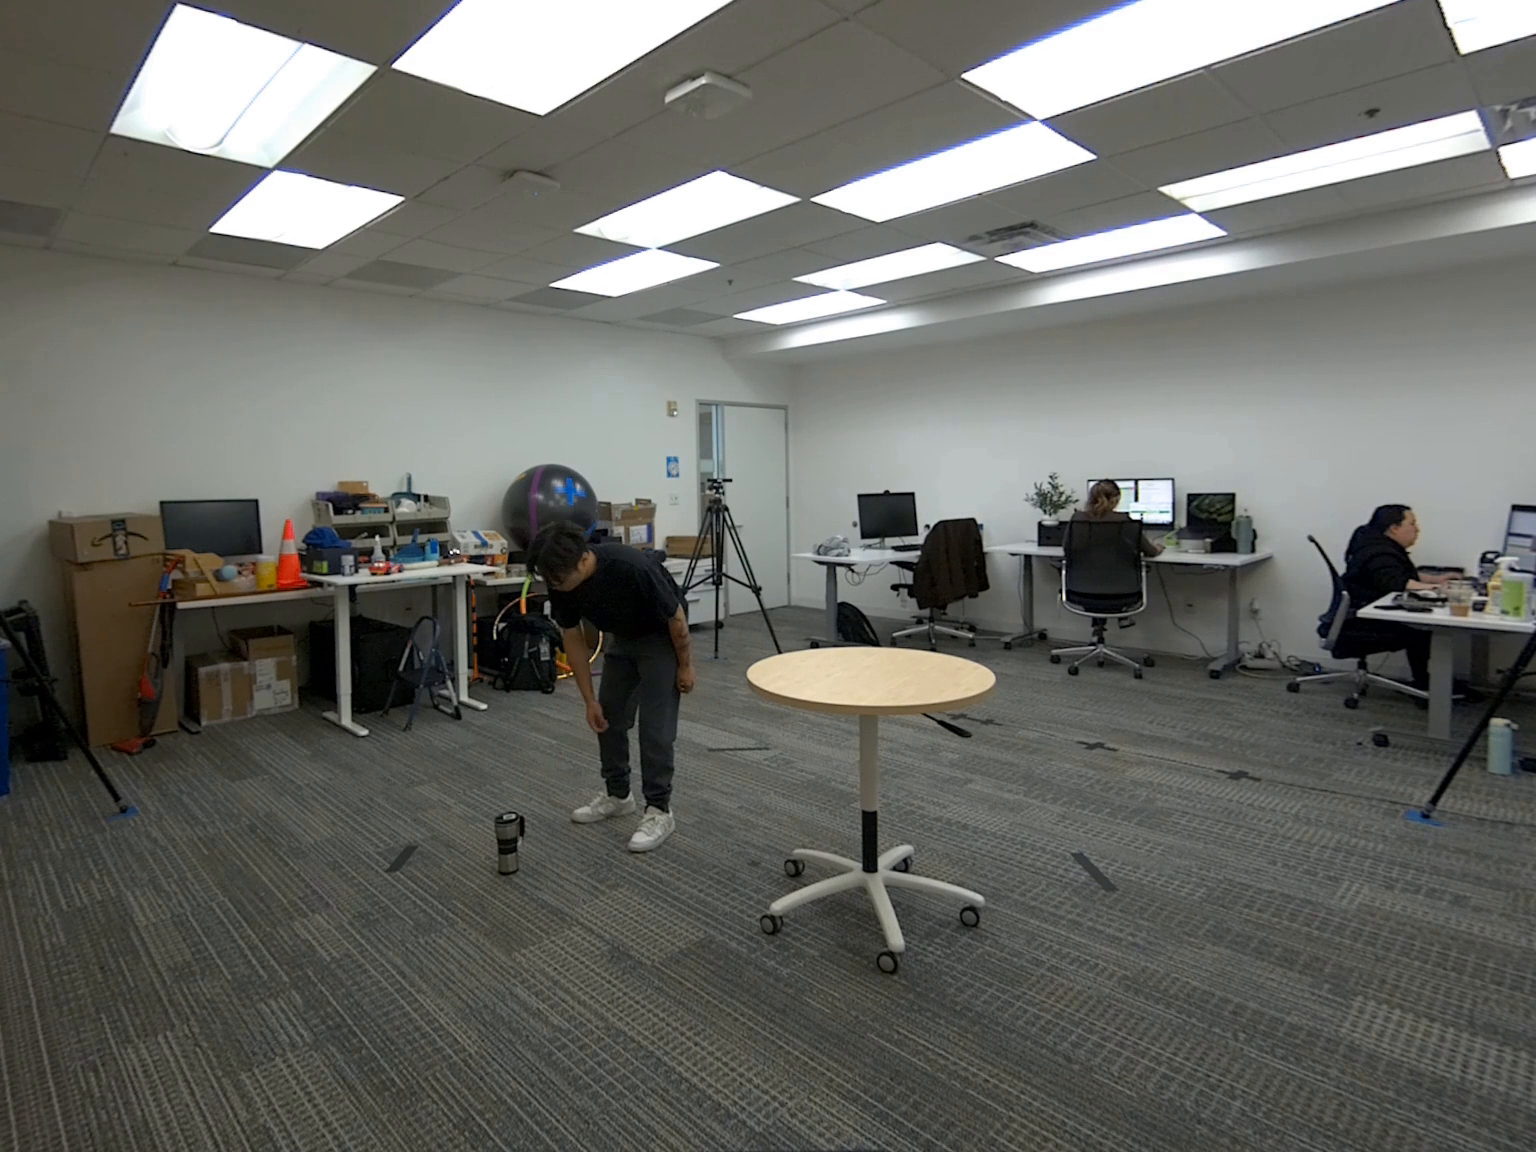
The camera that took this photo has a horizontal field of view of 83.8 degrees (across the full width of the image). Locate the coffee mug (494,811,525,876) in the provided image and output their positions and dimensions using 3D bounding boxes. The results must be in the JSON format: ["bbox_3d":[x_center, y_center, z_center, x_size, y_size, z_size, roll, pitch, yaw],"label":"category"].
[{"bbox_3d":[-0.917,0.964,3.091,0.119,0.202,0.090,-9,5,-40],"label":"coffee mug"}]
